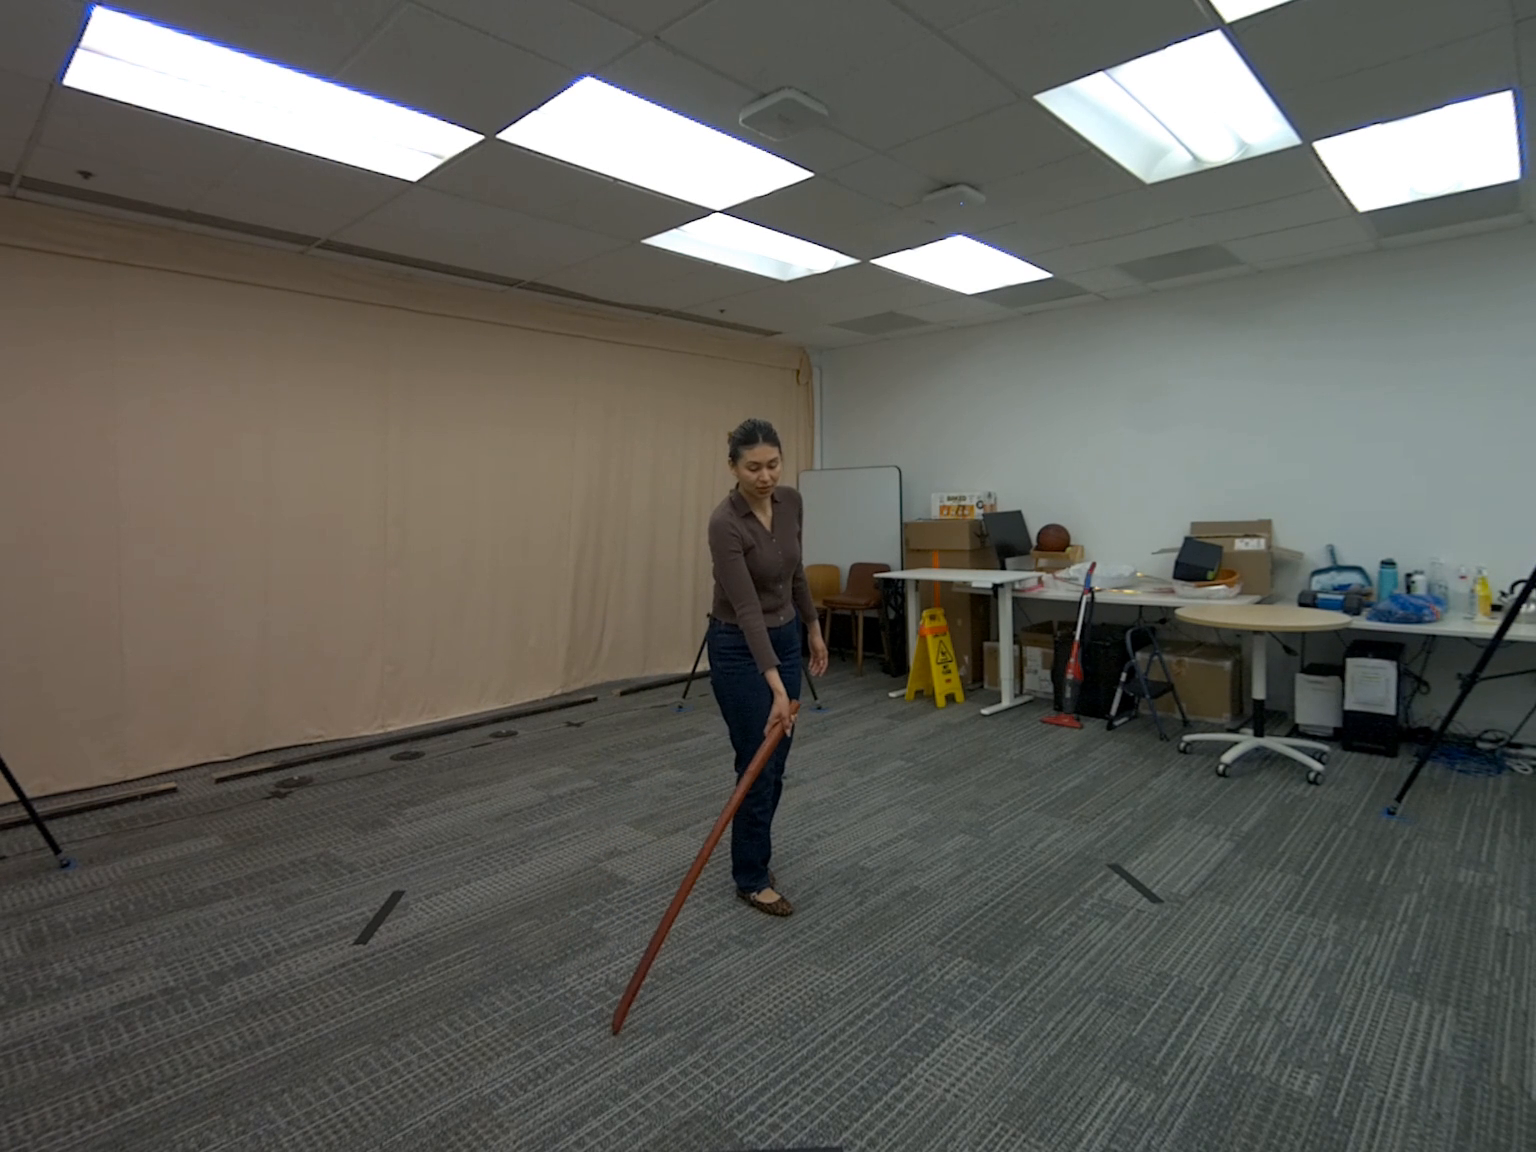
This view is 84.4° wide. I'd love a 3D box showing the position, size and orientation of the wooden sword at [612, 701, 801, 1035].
[{"bbox_3d":[-0.179,0.801,2.396,0.023,1.024,0.052,38,-22,-20],"label":"wooden sword"}]
